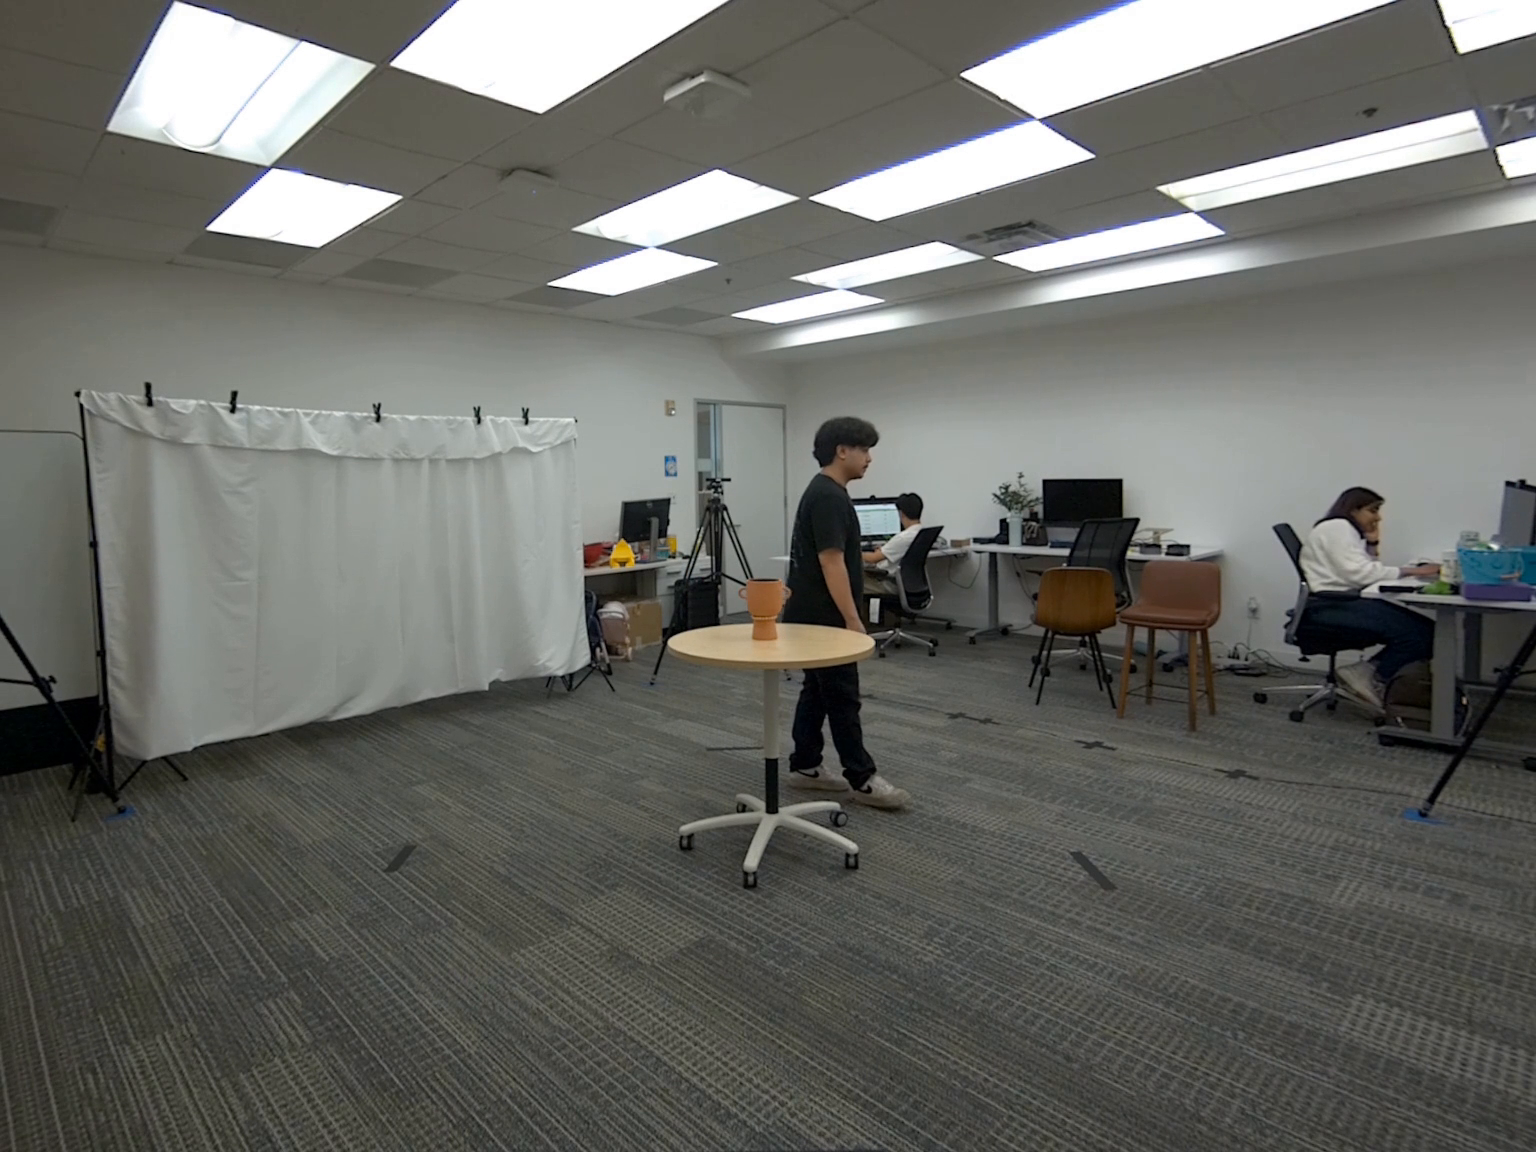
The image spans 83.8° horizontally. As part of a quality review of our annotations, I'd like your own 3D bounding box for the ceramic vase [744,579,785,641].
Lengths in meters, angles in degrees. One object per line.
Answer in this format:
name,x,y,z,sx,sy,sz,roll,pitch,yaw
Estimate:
ceramic vase,-0.009,0.125,3.222,0.164,0.219,0.131,3,5,41
